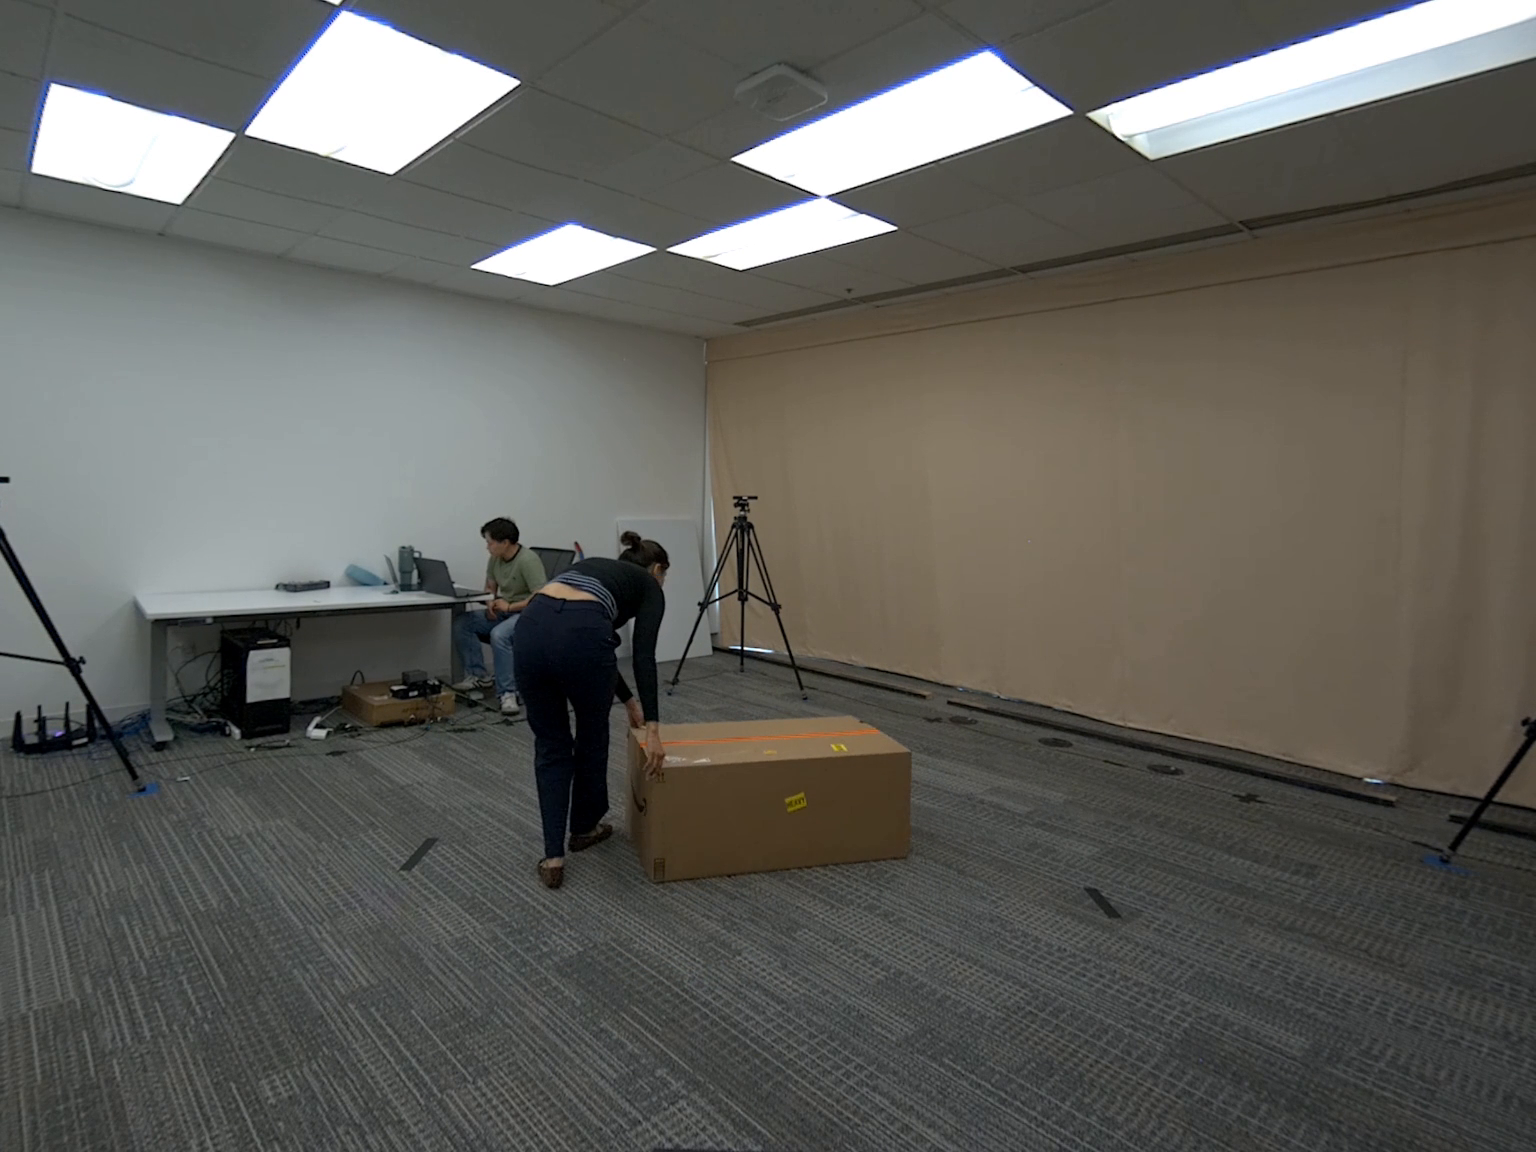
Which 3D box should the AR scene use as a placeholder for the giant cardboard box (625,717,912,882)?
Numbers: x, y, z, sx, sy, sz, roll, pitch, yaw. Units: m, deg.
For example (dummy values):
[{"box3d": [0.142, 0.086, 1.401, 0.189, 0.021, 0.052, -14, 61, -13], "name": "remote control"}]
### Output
[{"box3d": [-0.027, 0.861, 3.416, 1.012, 0.425, 0.587, 0, 5, -17], "name": "giant cardboard box"}]
